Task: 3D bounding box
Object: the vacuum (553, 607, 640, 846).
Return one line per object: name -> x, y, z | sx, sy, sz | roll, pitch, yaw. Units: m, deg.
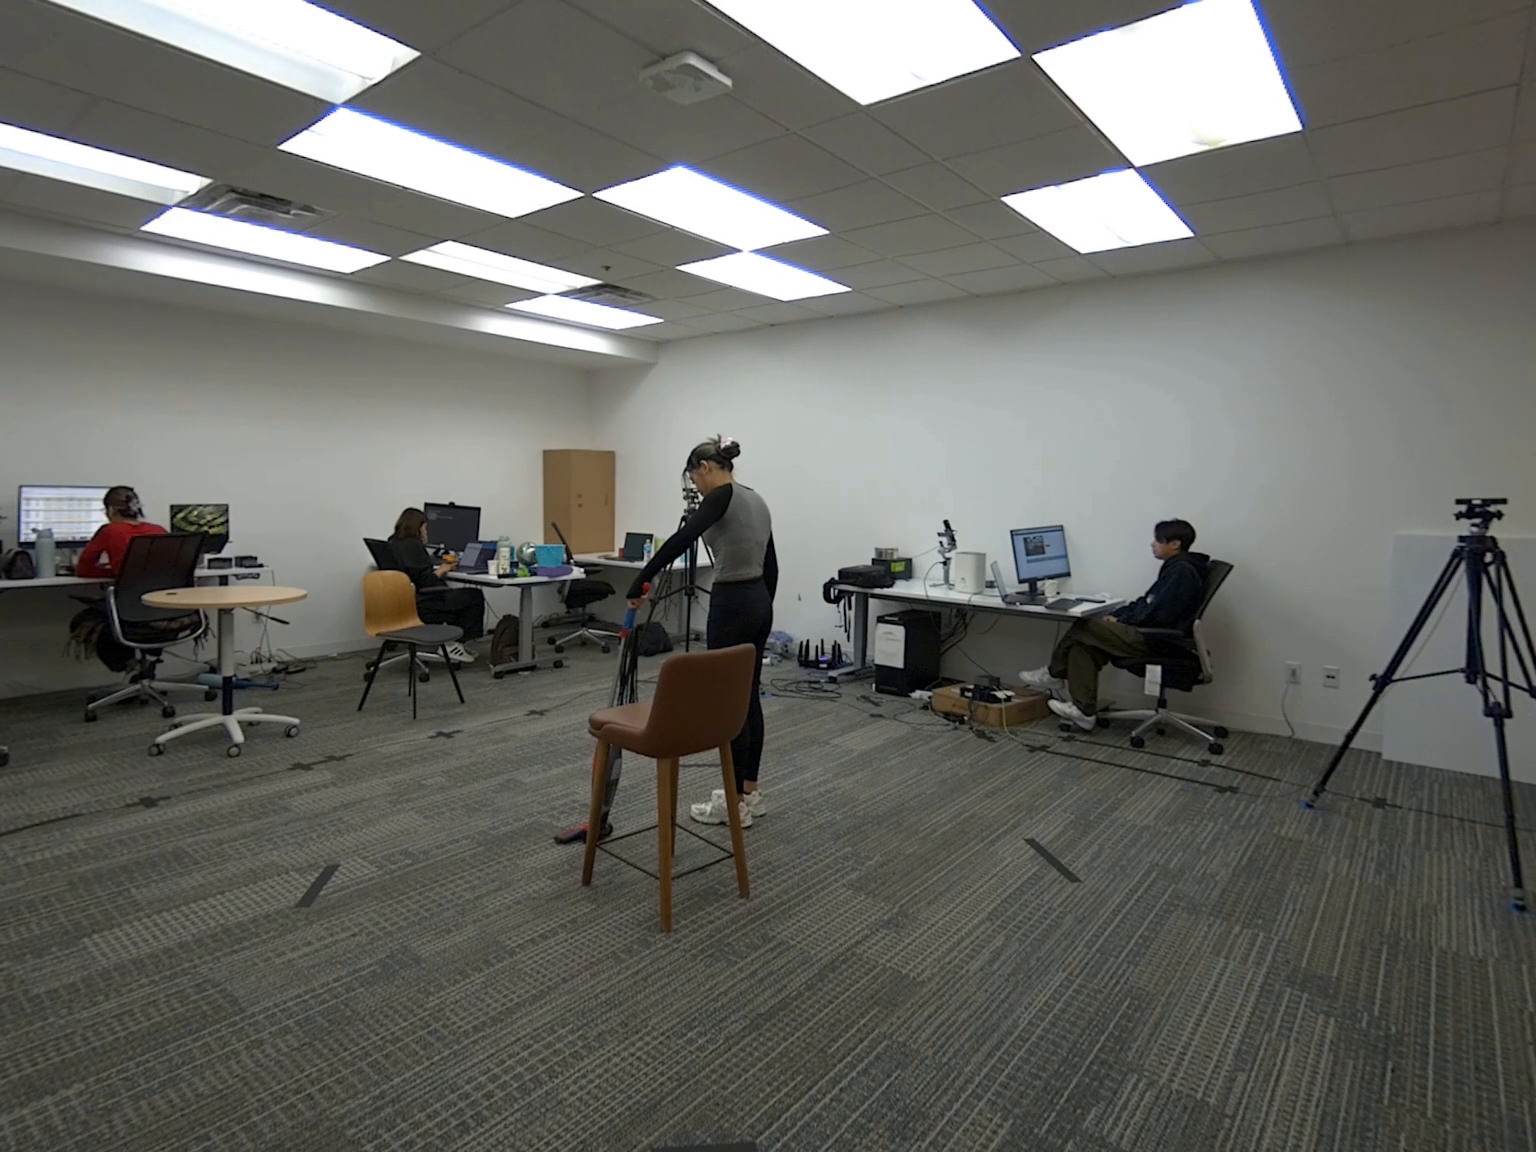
vacuum -> -0.605, 0.540, 3.314 | 0.149, 1.043, 0.244 | 20, 9, 34
